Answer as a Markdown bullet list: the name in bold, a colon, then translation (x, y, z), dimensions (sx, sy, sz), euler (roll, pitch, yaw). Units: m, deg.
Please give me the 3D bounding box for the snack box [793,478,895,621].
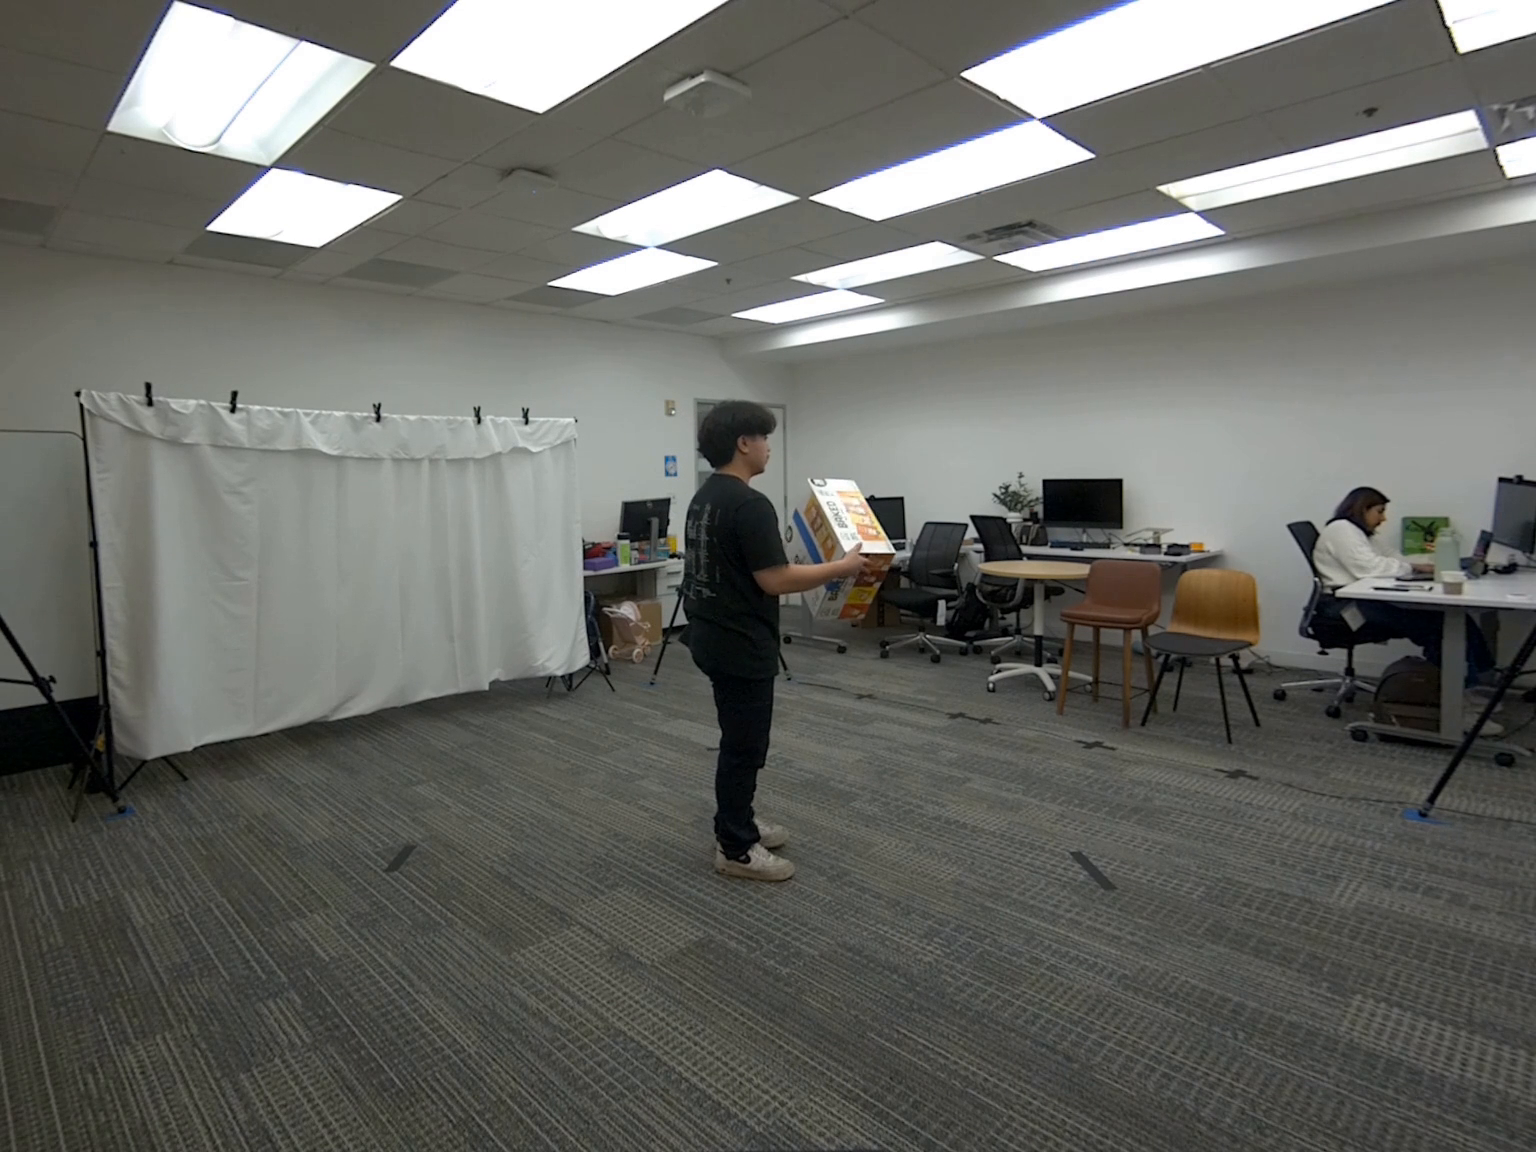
- **snack box**: translation (0.243, -0.101, 3.174), dimensions (0.201, 0.335, 0.420), euler (1, 43, -22)
